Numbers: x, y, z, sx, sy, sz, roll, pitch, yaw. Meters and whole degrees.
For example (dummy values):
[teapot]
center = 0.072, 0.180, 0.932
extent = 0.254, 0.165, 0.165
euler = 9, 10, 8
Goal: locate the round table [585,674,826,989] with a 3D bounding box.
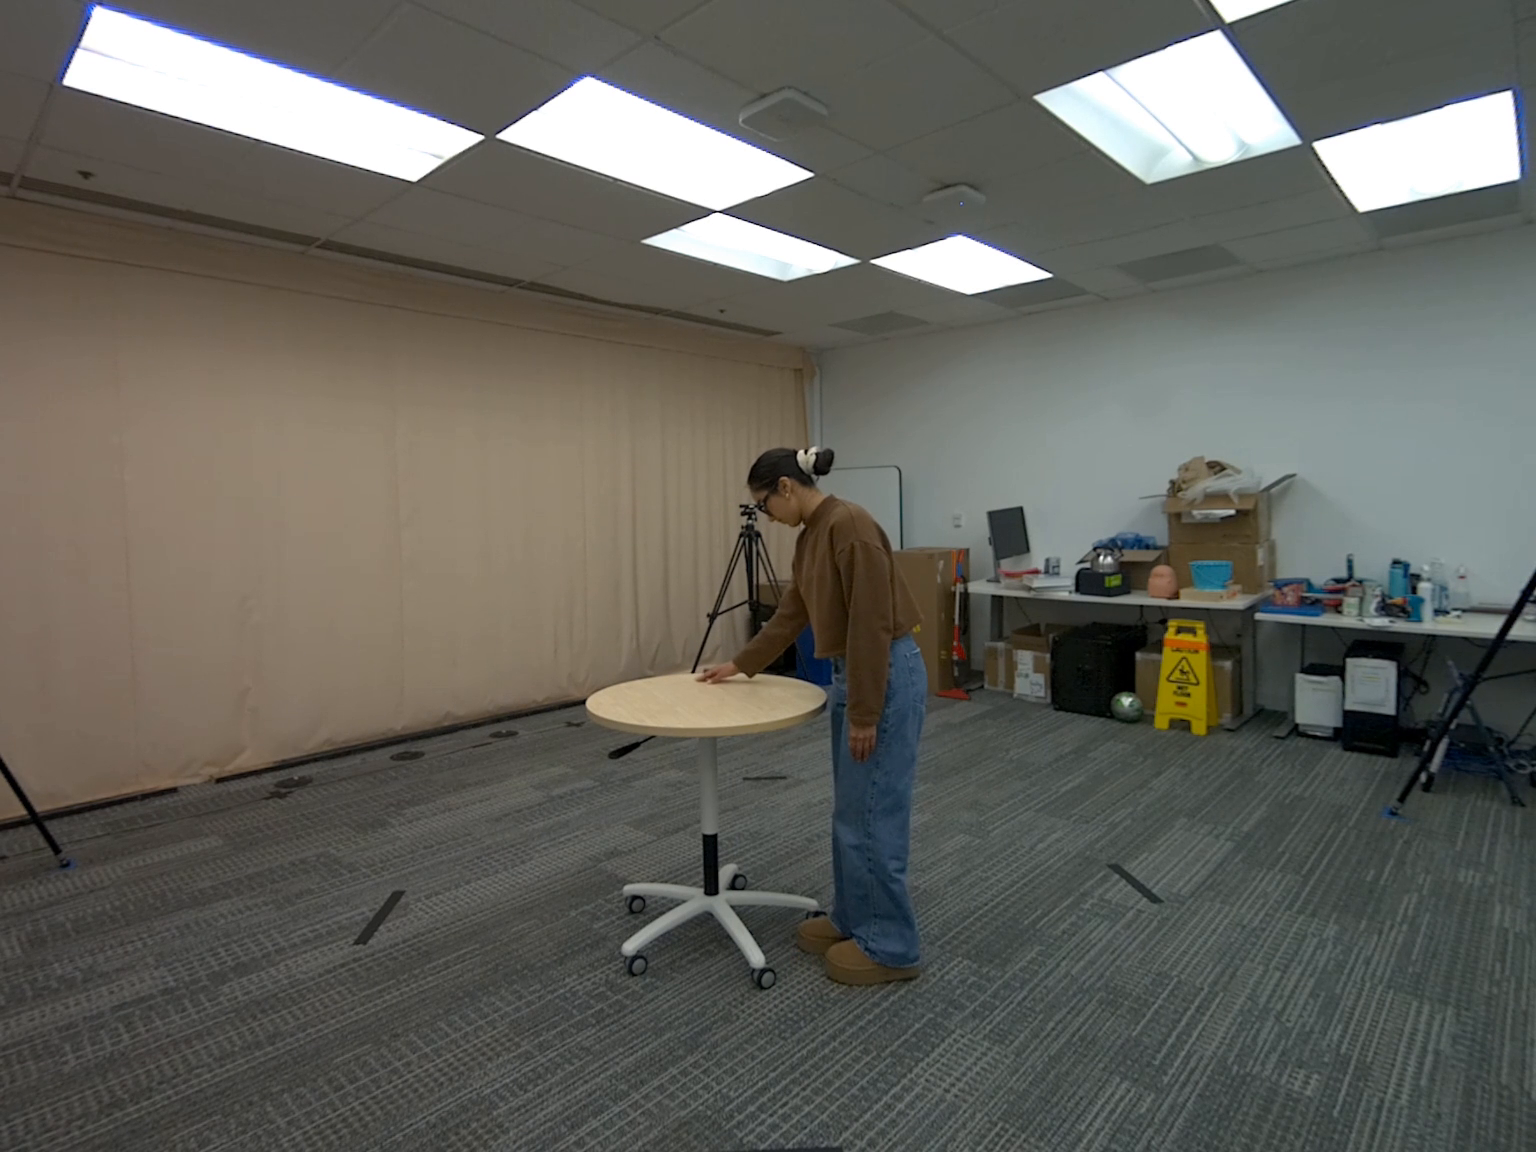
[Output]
[round table]
center = -0.190, 0.782, 2.709
extent = 0.763, 0.792, 0.767
euler = -2, 4, -2
